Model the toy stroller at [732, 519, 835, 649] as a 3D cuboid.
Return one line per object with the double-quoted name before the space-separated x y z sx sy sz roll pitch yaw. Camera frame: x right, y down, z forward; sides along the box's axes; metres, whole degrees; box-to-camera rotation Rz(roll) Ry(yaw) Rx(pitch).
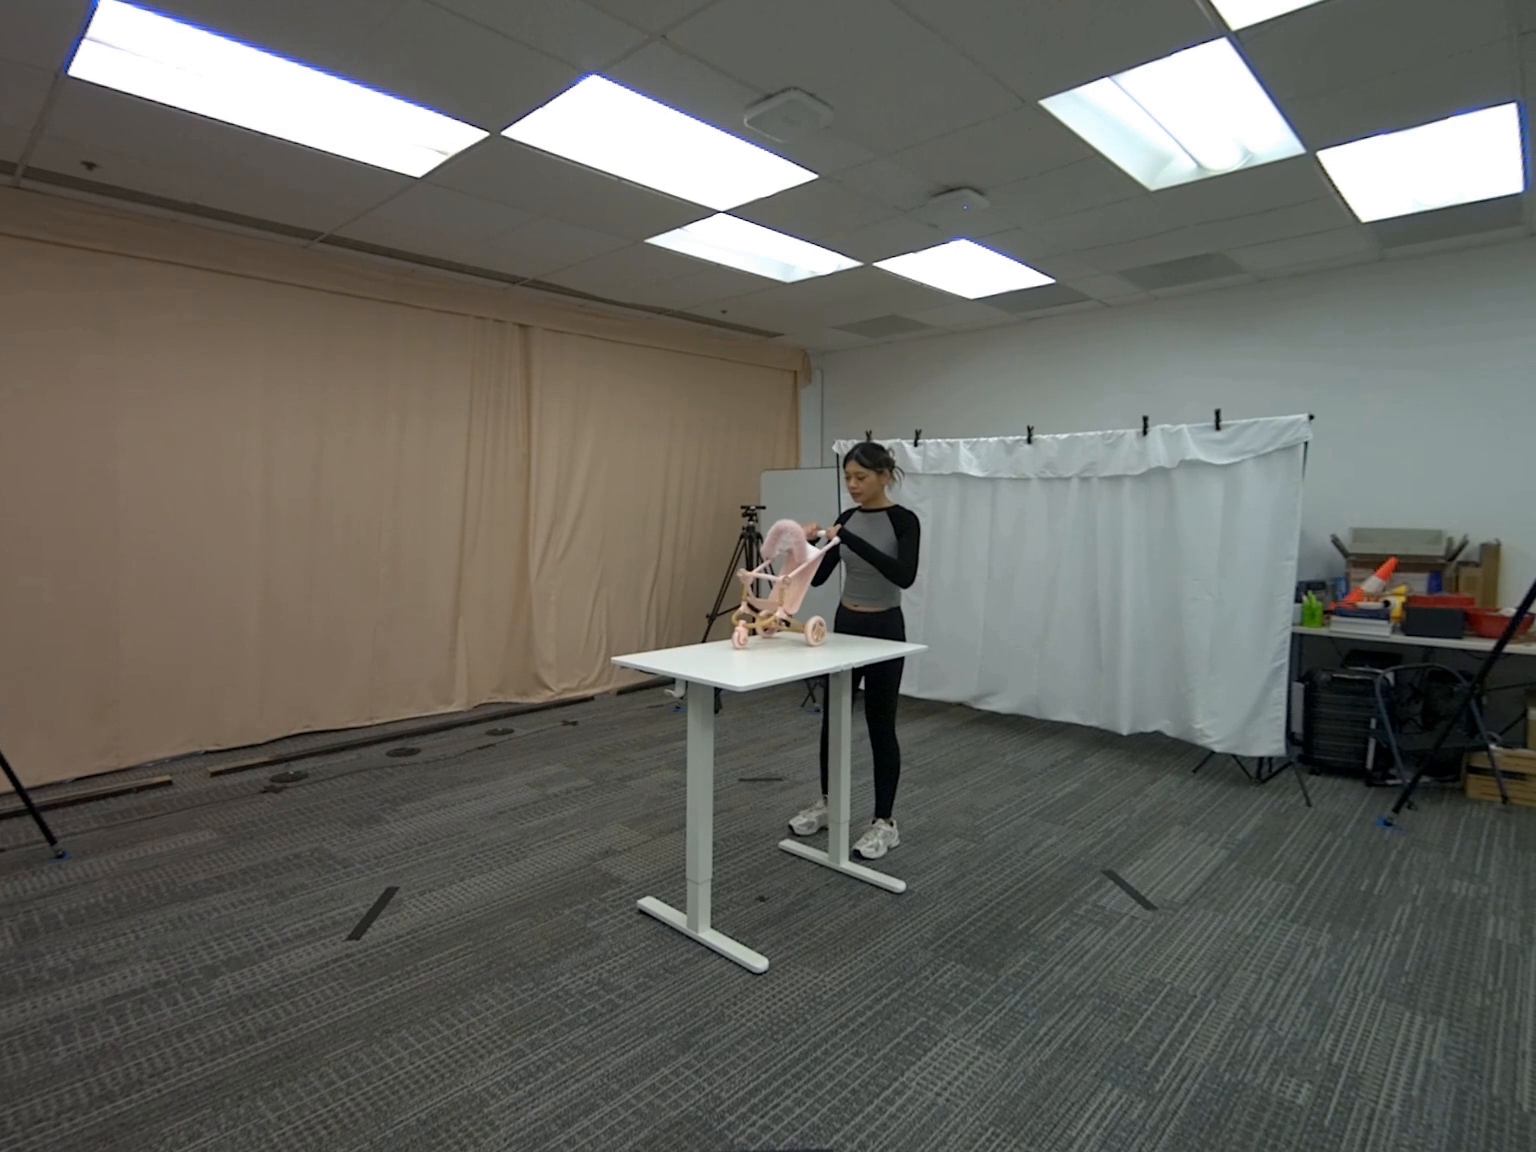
"toy stroller" 0.050 0.029 3.099 0.329 0.536 0.291 20 -9 -39
